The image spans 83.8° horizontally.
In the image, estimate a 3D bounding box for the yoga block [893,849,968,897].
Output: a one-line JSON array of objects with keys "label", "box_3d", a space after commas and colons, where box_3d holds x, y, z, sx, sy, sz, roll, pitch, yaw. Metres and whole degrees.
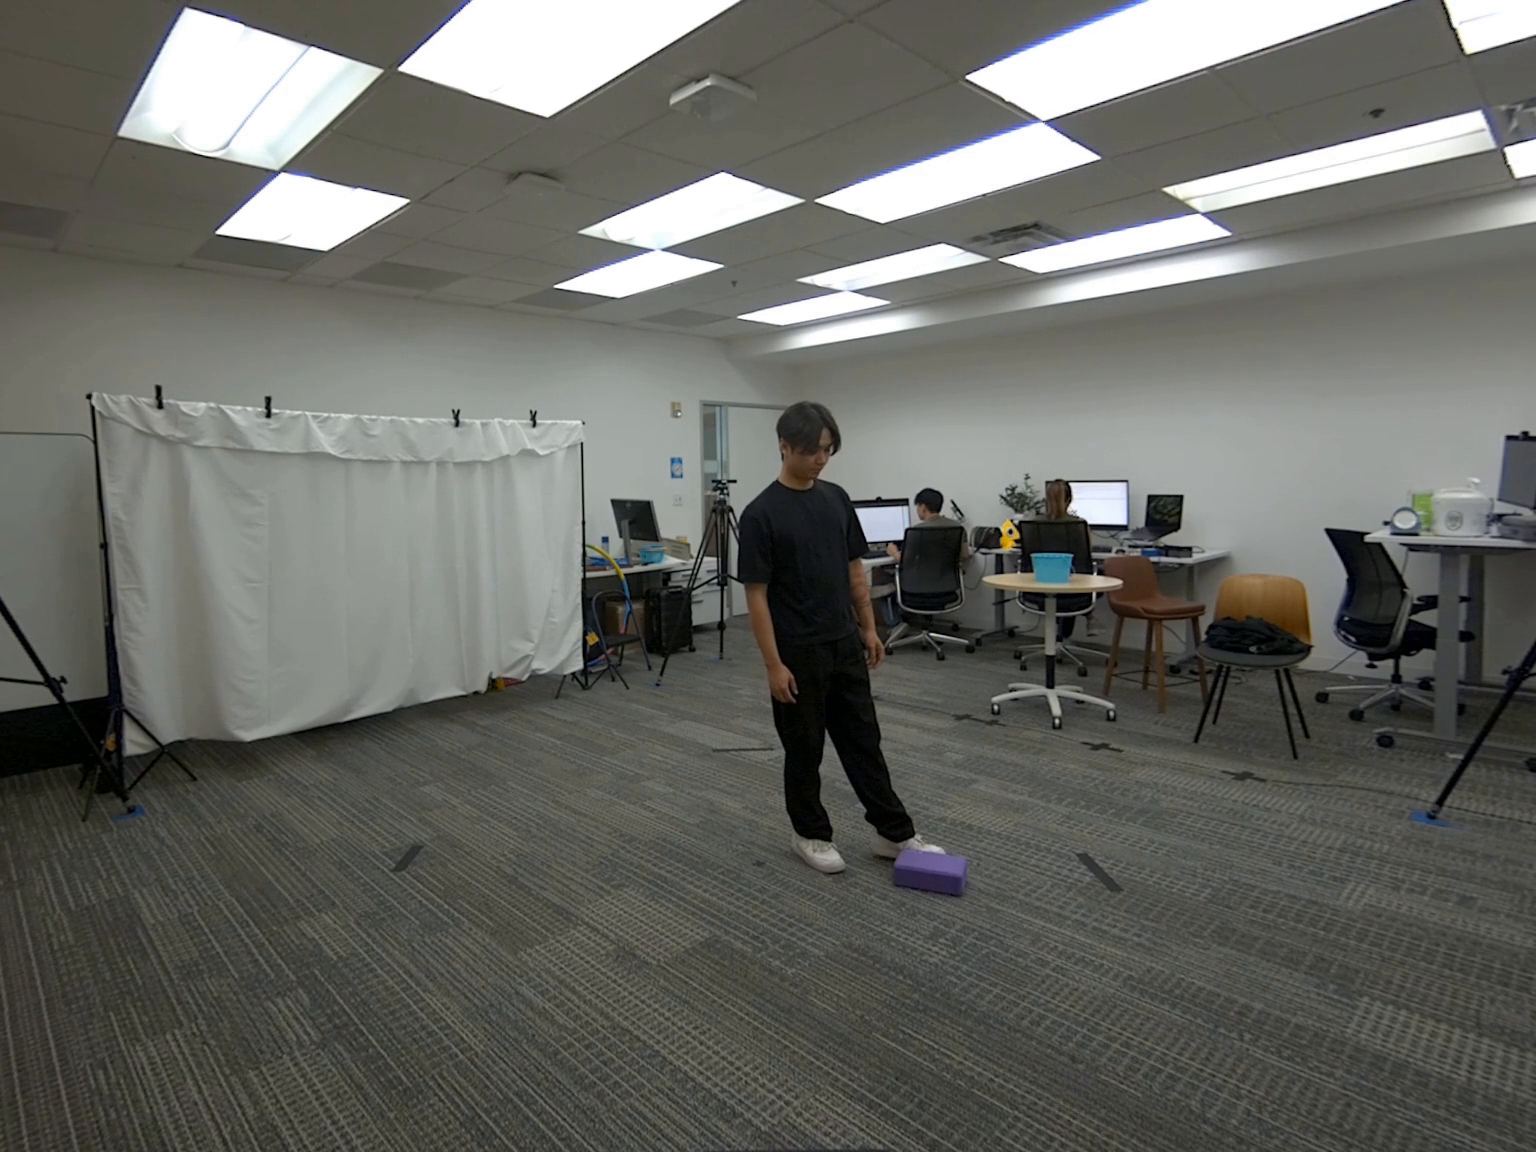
[{"label": "yoga block", "box_3d": [0.555, 1.014, 2.938, 0.234, 0.076, 0.147, 2, 7, 21]}]
